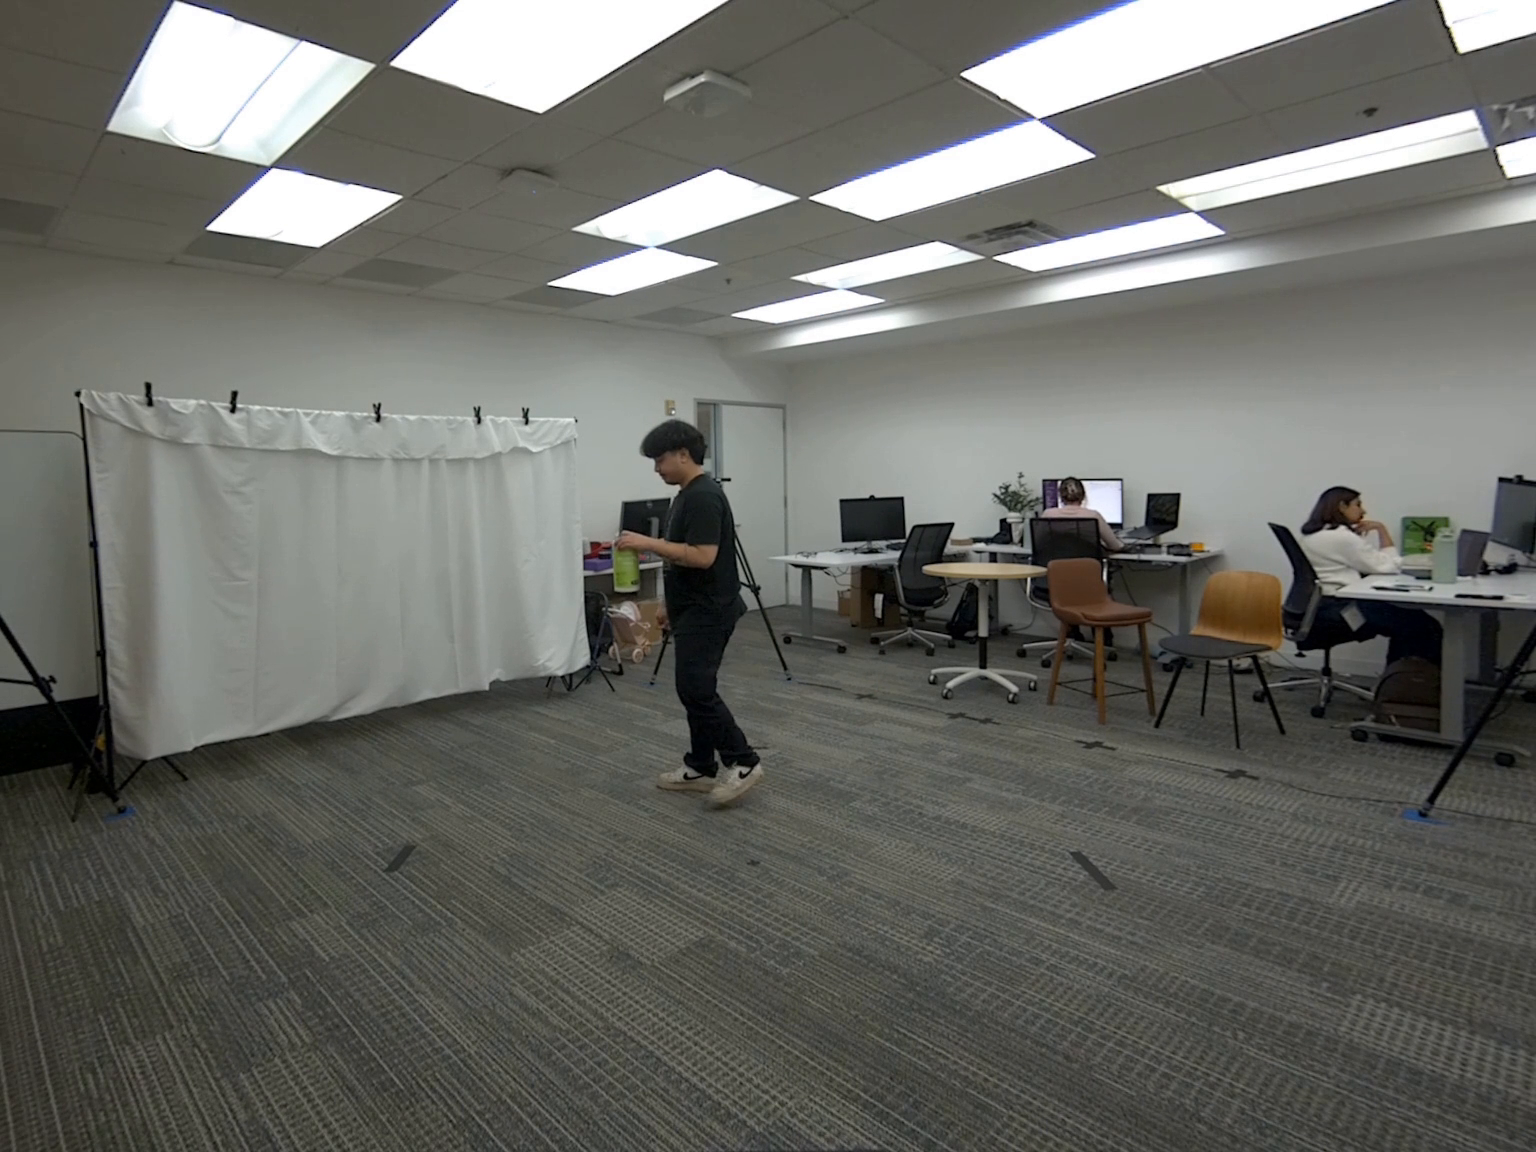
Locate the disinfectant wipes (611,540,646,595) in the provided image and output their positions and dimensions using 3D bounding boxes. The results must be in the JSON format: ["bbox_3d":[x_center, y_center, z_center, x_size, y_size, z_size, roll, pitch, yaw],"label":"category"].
[{"bbox_3d":[-0.593,-0.043,3.640,0.118,0.216,0.118,-3,5,-1],"label":"disinfectant wipes"}]
